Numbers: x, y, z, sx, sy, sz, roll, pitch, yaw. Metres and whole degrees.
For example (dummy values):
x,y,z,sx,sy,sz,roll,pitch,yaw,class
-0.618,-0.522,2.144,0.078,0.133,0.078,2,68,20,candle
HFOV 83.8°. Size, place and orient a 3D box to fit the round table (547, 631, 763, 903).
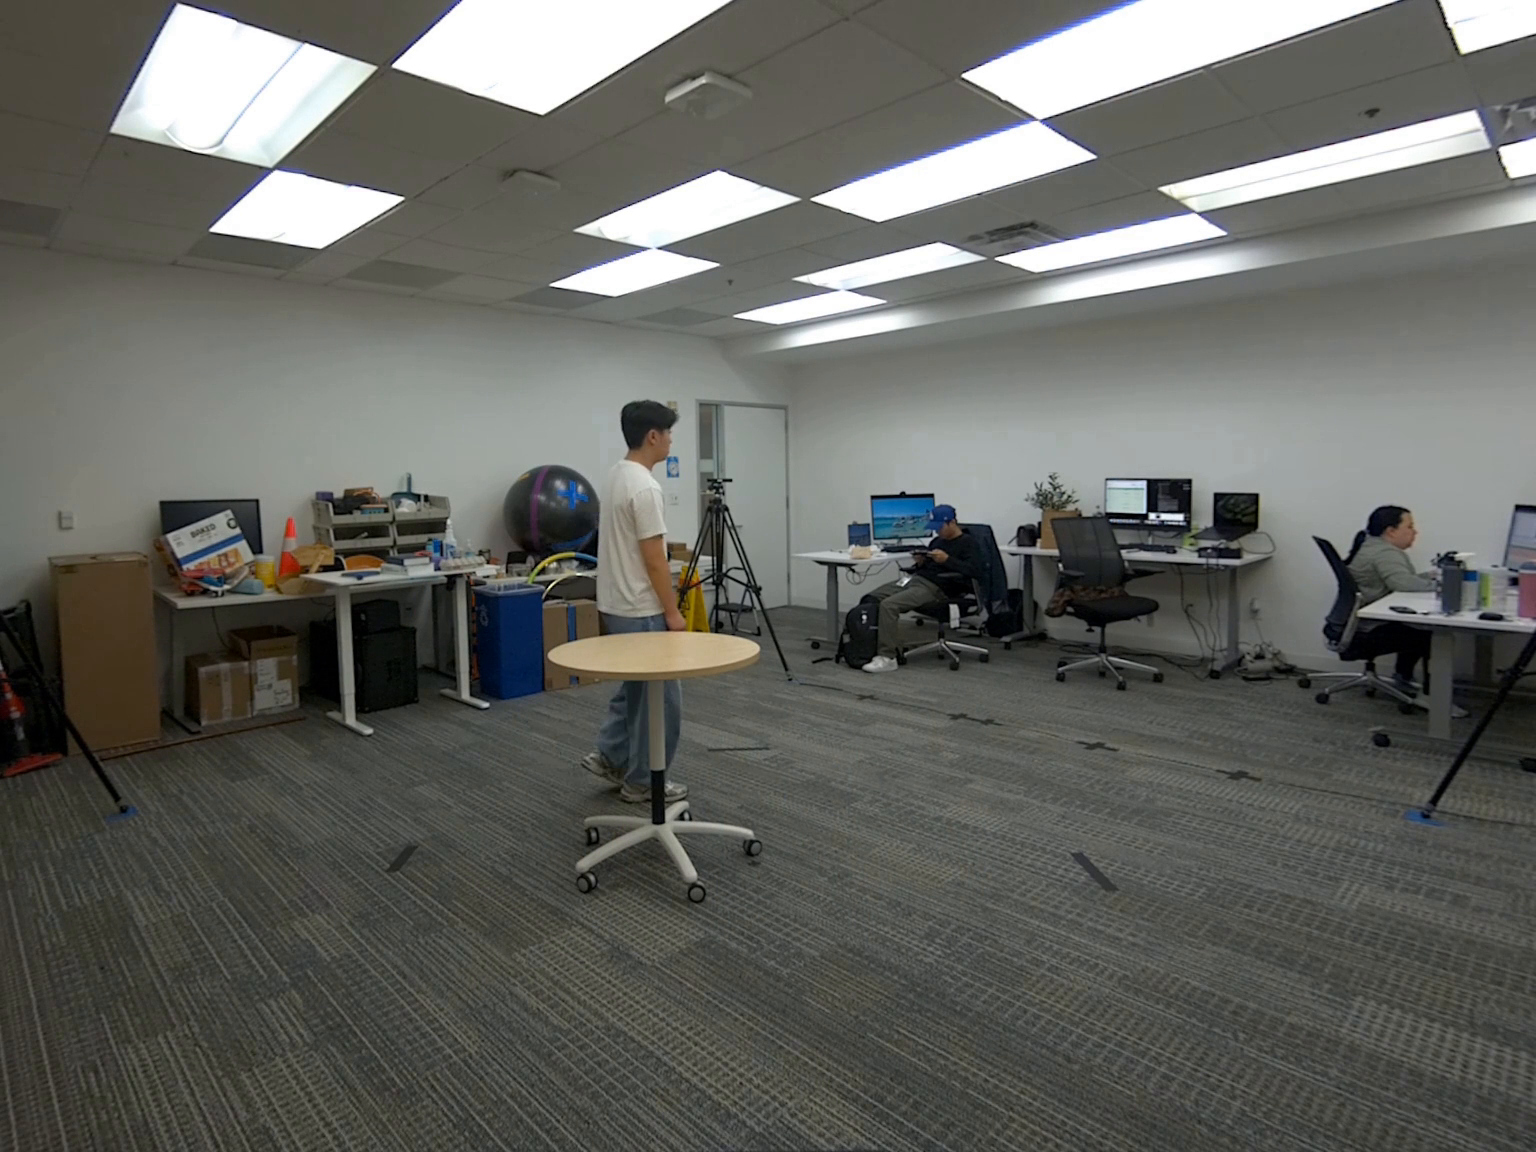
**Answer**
x,y,z,sx,sy,sz,roll,pitch,yaw,class
-0.399,0.660,3.128,0.763,0.791,0.768,-1,5,-2,round table
